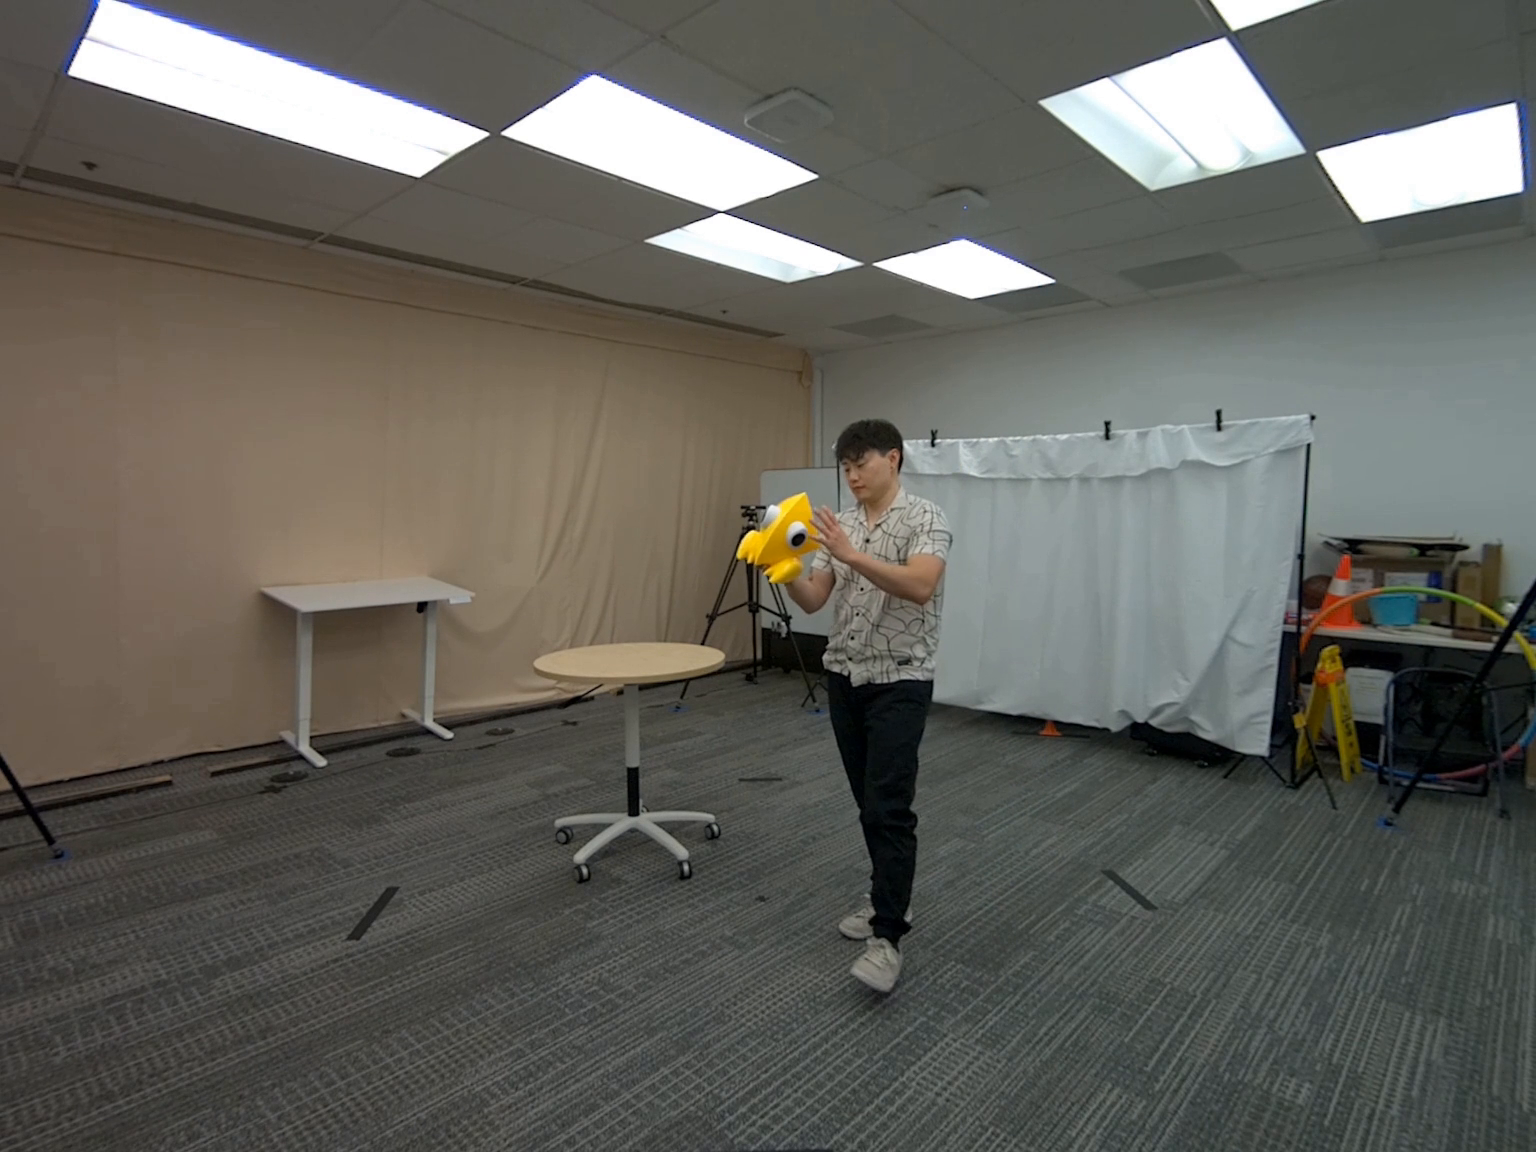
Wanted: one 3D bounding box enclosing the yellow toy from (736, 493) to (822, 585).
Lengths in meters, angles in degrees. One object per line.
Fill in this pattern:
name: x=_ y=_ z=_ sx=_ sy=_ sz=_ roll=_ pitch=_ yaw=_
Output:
yellow toy: x=0.055 y=-0.131 z=2.487 sx=0.210 sy=0.229 sz=0.189 roll=37 pitch=41 yaw=20
